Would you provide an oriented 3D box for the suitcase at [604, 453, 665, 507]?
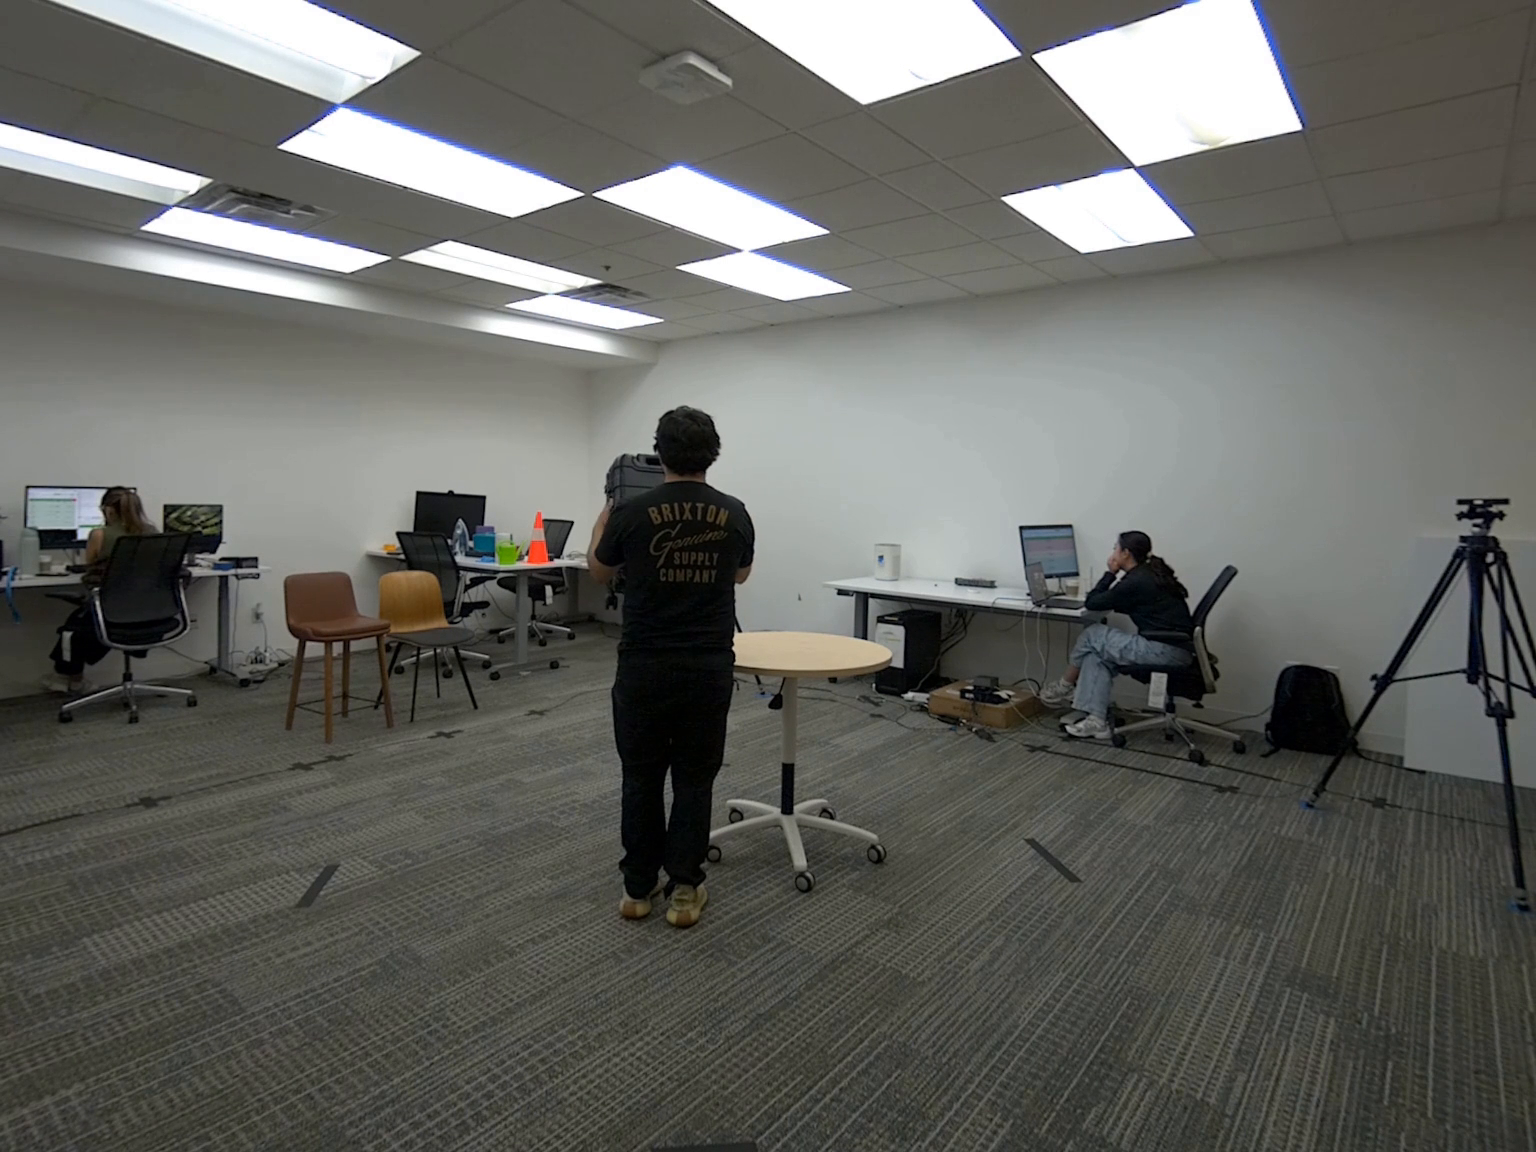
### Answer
[{"bbox_3d":[-0.430,-0.172,3.142,0.369,0.561,0.247,3,-23,-17],"label":"suitcase"}]
